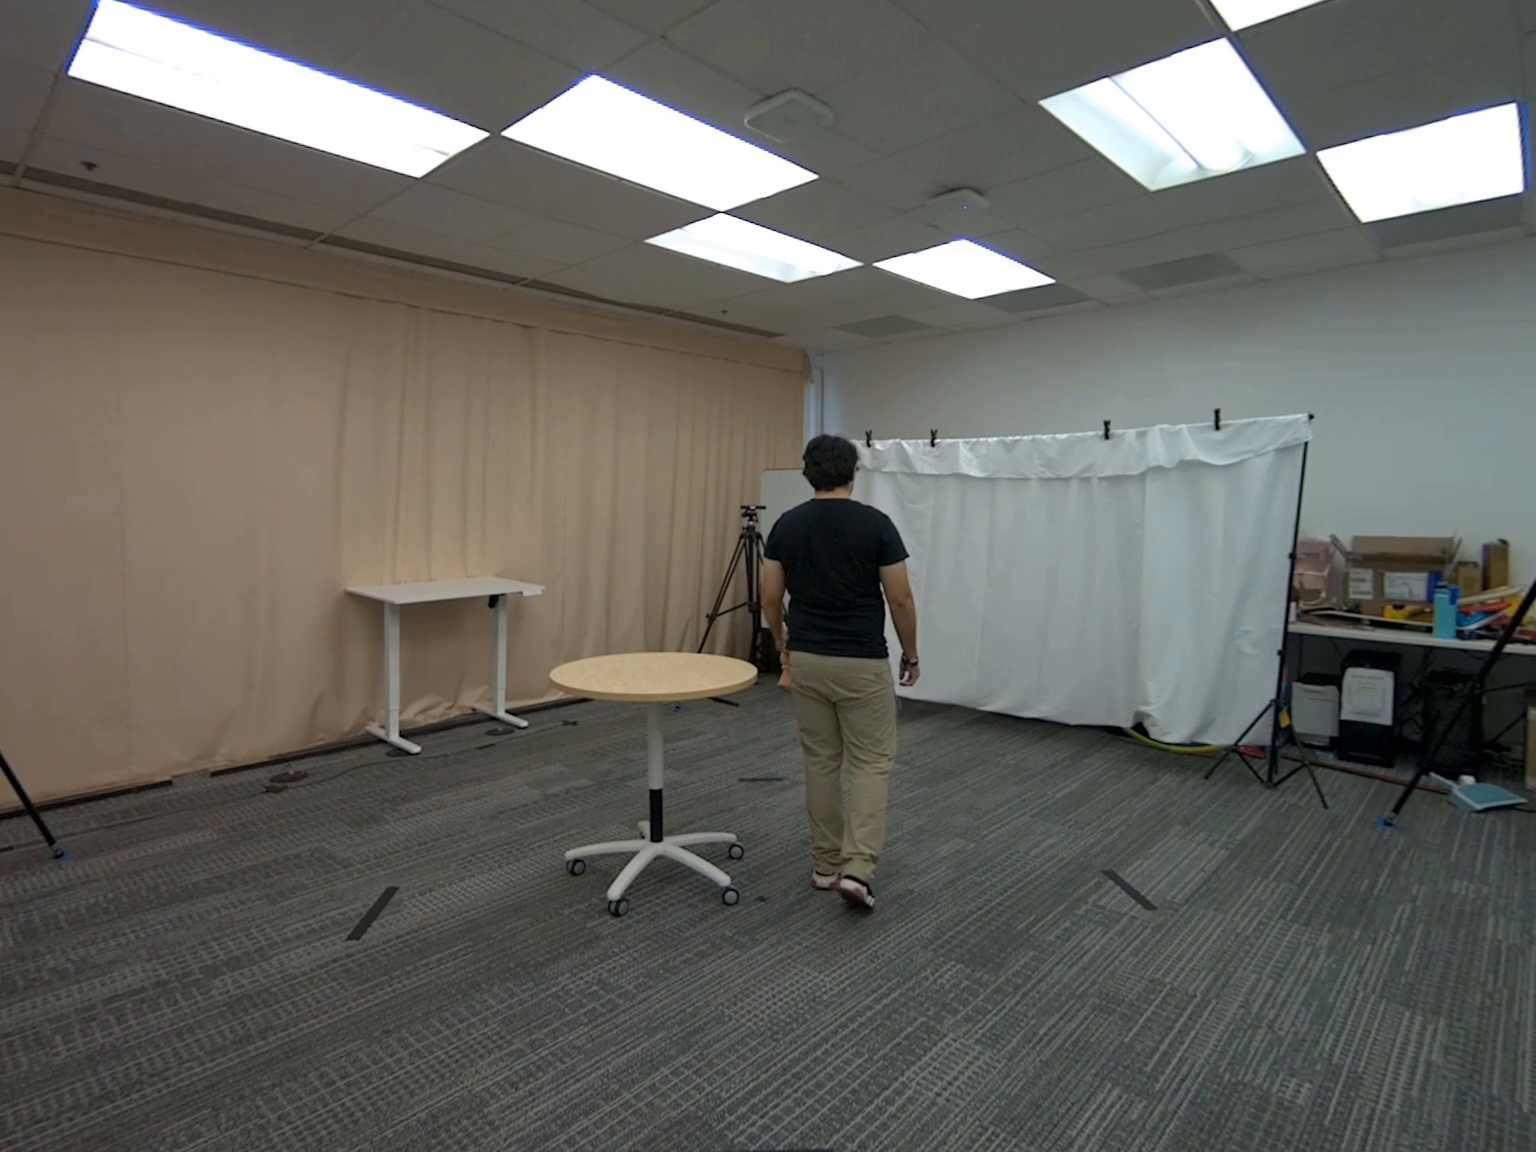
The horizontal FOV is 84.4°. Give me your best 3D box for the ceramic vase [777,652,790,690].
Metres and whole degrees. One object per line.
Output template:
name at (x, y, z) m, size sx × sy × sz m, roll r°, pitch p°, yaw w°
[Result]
ceramic vase at (0.115, 0.361, 3.459) m, size 0.157 × 0.221 × 0.135 m, roll 19°, pitch -21°, yaw -11°
